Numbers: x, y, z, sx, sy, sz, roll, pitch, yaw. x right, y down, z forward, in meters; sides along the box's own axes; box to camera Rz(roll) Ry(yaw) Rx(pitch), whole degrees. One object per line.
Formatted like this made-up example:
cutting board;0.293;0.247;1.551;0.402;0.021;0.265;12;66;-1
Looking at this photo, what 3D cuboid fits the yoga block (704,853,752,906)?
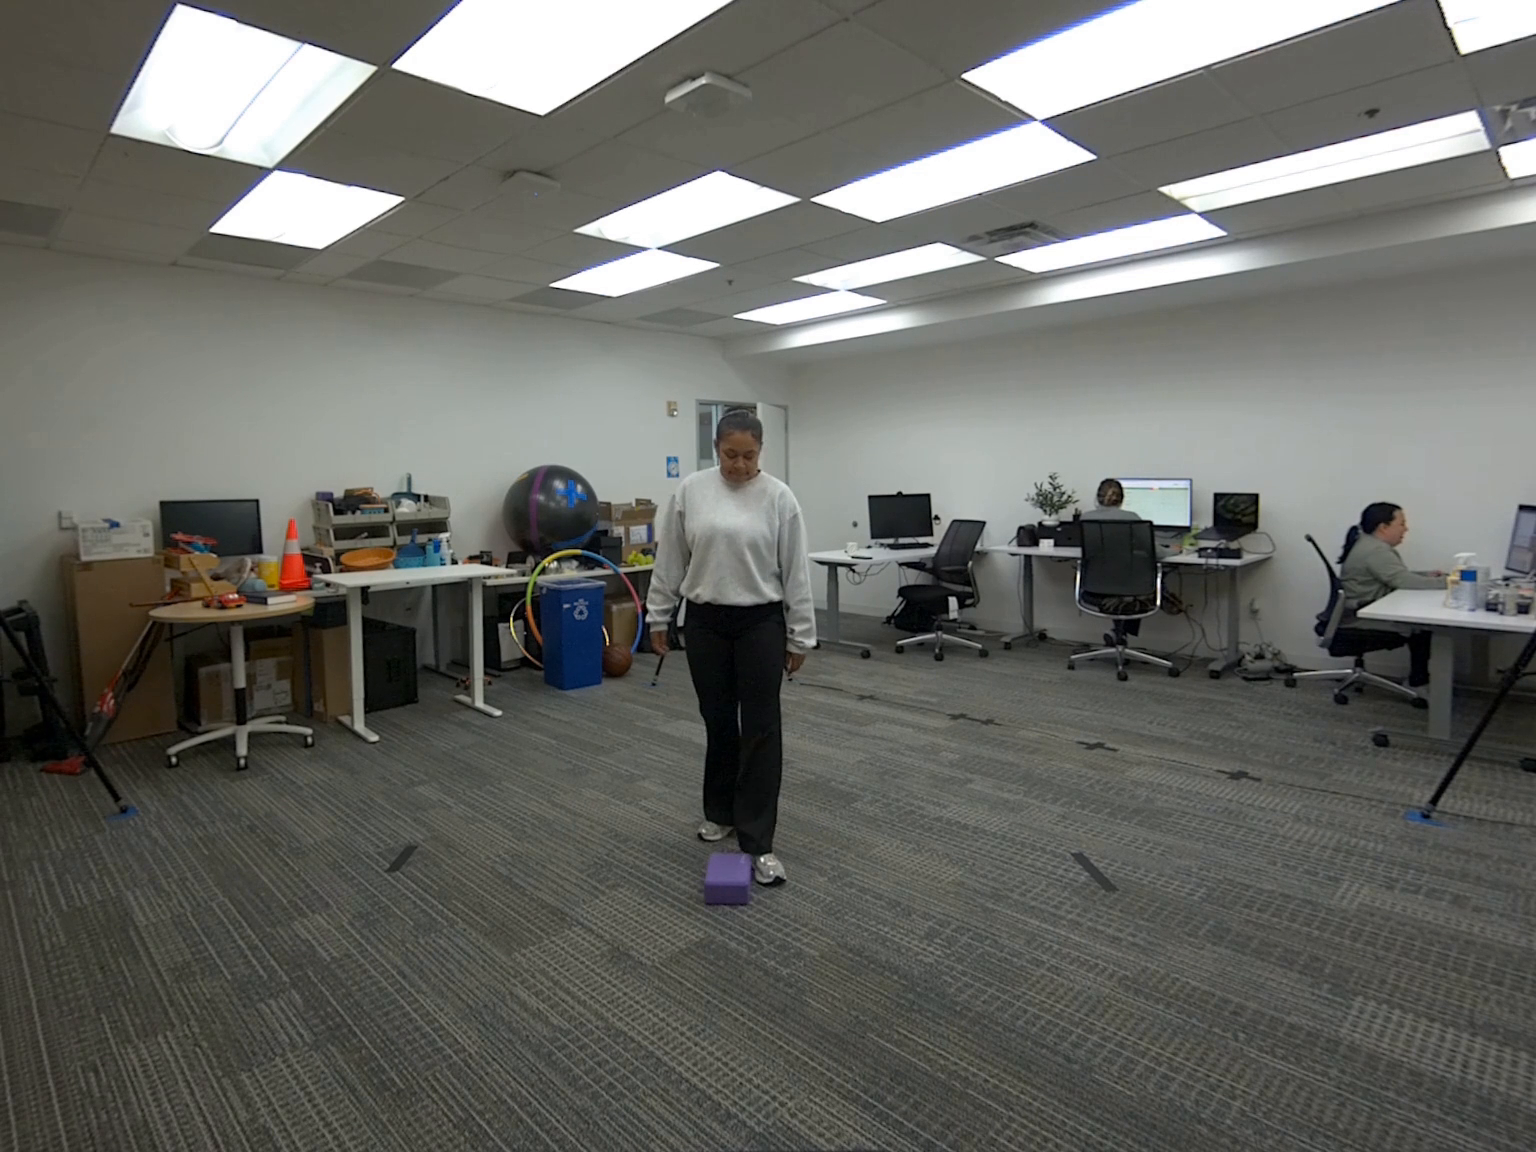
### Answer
yoga block;-0.132;1.029;2.916;0.149;0.076;0.229;2;6;3
